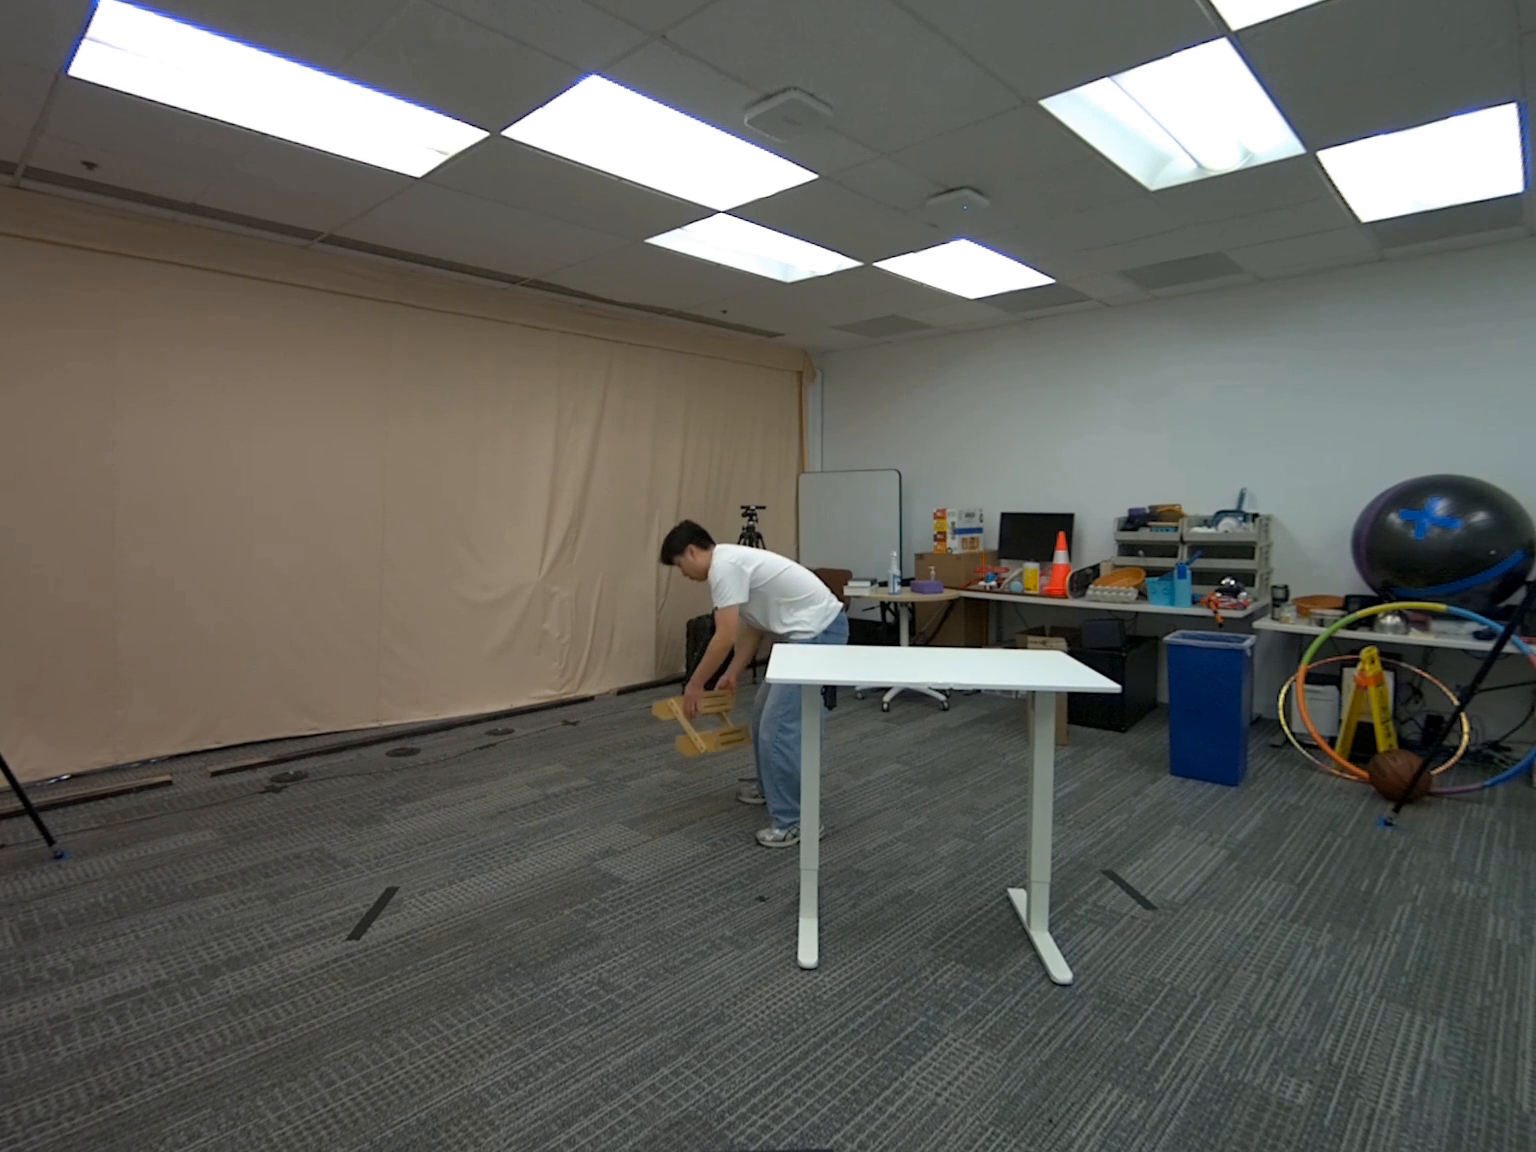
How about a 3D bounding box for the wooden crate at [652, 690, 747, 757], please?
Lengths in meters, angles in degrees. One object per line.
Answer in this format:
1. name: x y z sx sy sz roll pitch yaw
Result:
1. wooden crate: -0.298 0.666 3.774 0.308 0.276 0.315 -16 -11 28
